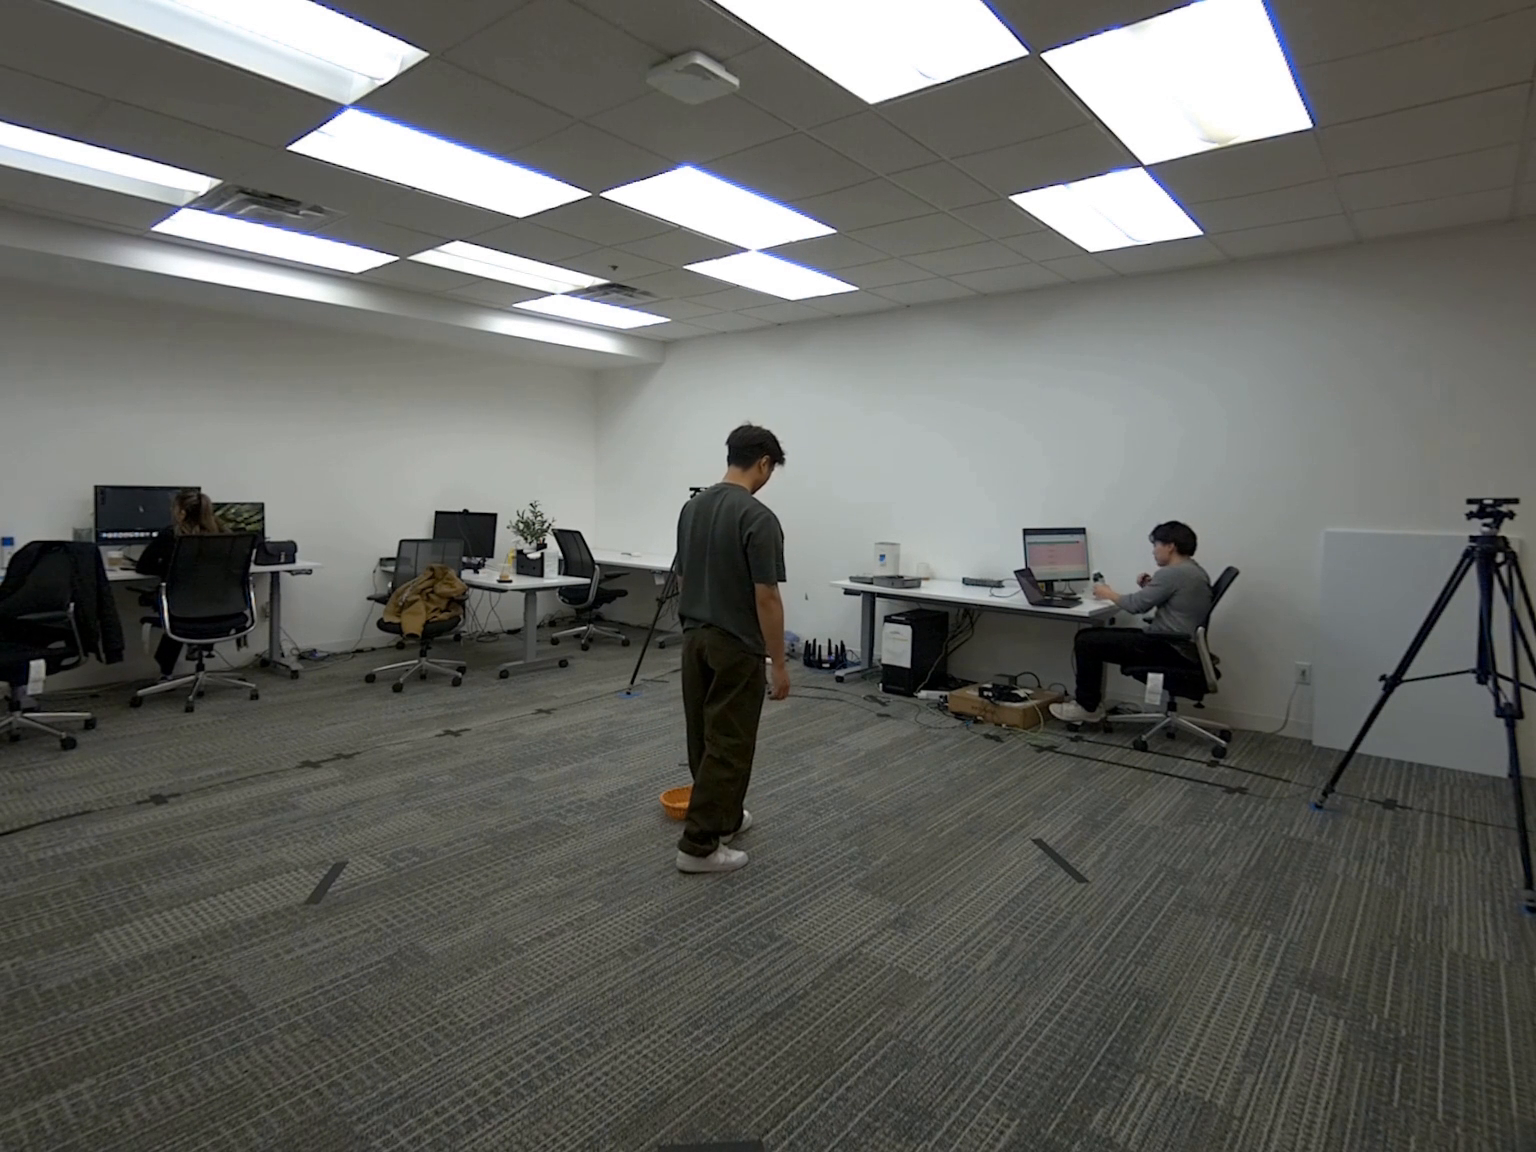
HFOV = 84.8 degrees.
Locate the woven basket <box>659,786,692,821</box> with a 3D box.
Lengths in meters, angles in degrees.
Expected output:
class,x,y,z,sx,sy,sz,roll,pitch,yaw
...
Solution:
class,x,y,z,sx,sy,sz,roll,pitch,yaw
woven basket,-0.309,0.967,3.658,0.343,0.073,0.259,-2,6,-23
